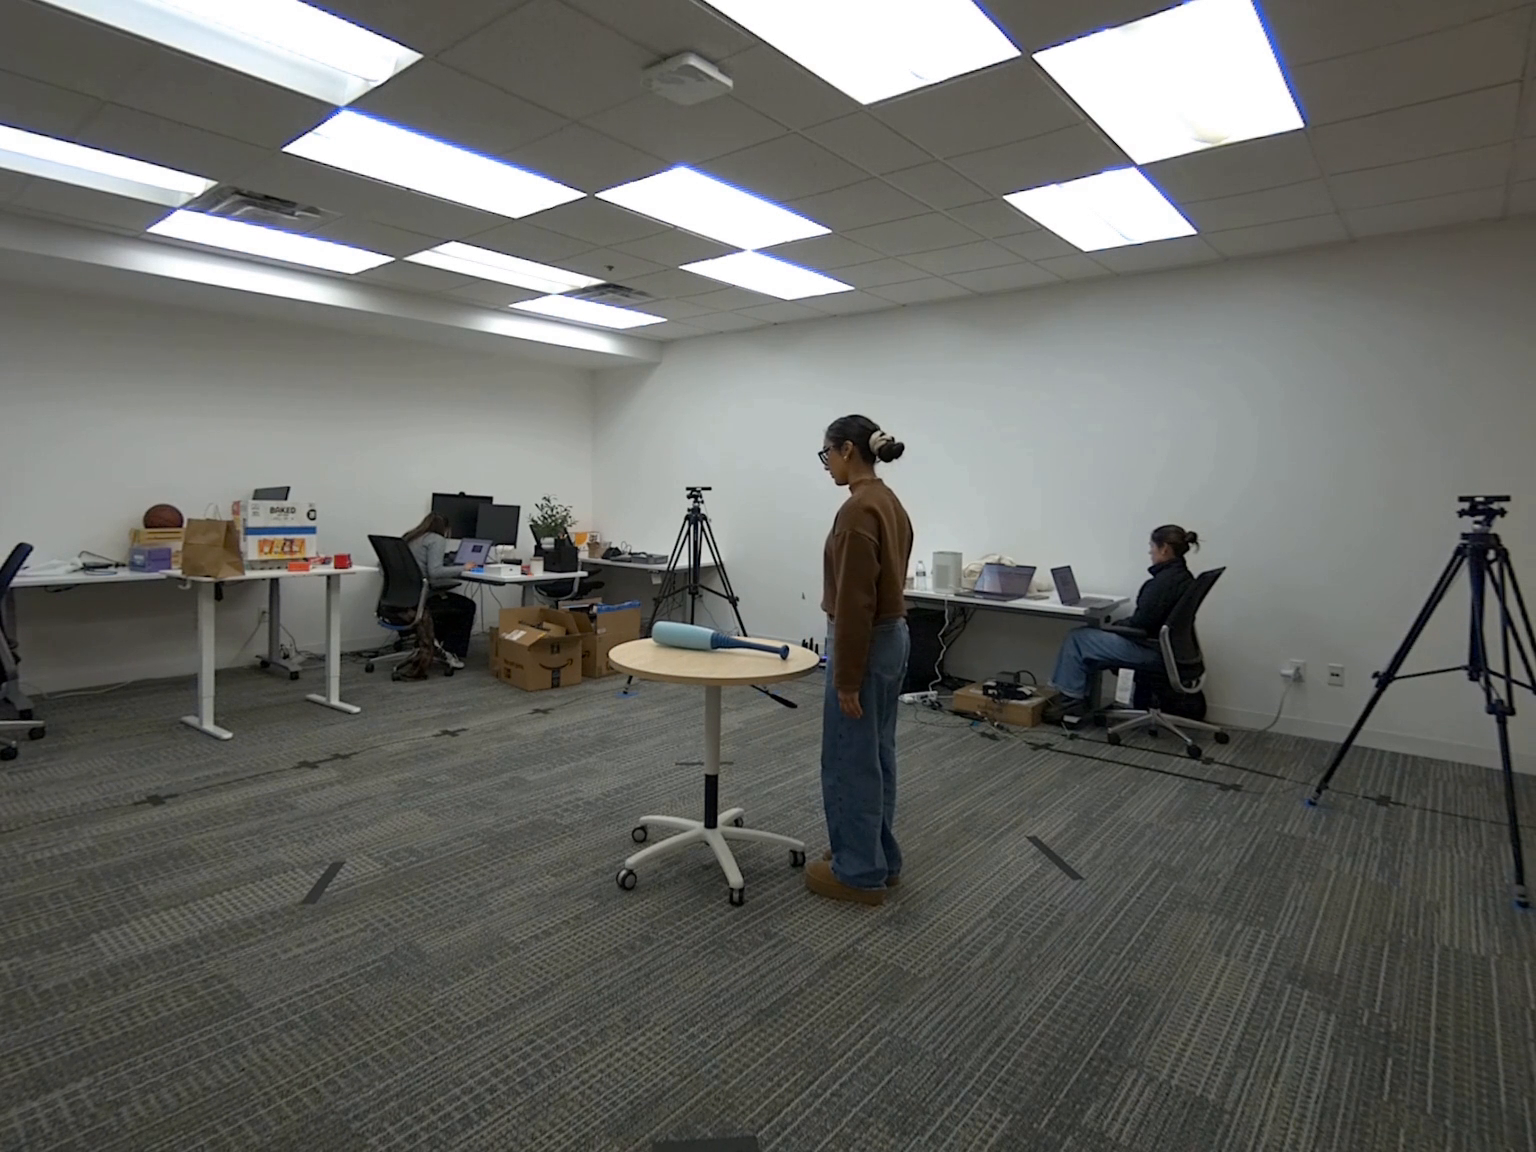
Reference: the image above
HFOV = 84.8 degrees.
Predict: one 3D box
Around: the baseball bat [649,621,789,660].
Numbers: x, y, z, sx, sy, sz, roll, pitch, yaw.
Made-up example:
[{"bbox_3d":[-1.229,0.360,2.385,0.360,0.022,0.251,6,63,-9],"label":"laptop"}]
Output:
[{"bbox_3d":[-0.189,0.246,3.150,0.557,0.088,0.087,7,6,23],"label":"baseball bat"}]
